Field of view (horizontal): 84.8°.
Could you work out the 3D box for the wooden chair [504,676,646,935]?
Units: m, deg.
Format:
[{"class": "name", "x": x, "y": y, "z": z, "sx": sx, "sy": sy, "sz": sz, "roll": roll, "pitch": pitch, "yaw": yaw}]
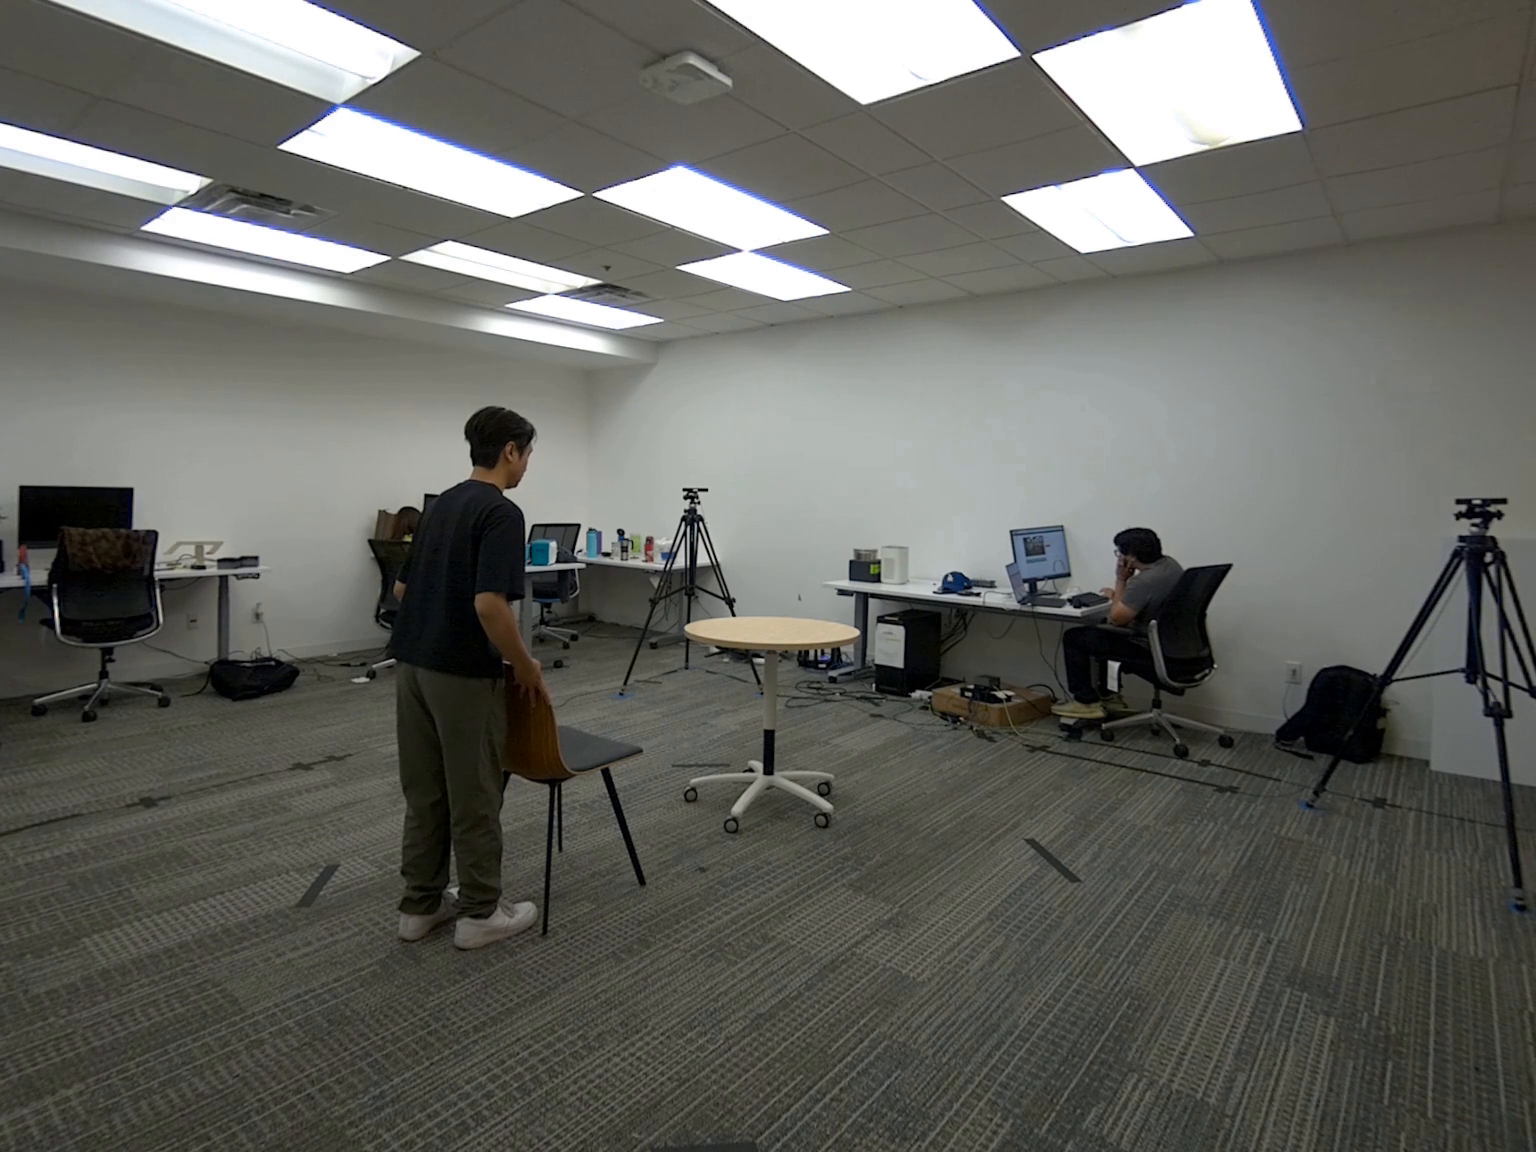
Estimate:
[{"class": "wooden chair", "x": -0.736, "y": 0.649, "z": 2.919, "sx": 0.493, "sy": 0.872, "sz": 0.510, "roll": 3, "pitch": 8, "yaw": 37}]
